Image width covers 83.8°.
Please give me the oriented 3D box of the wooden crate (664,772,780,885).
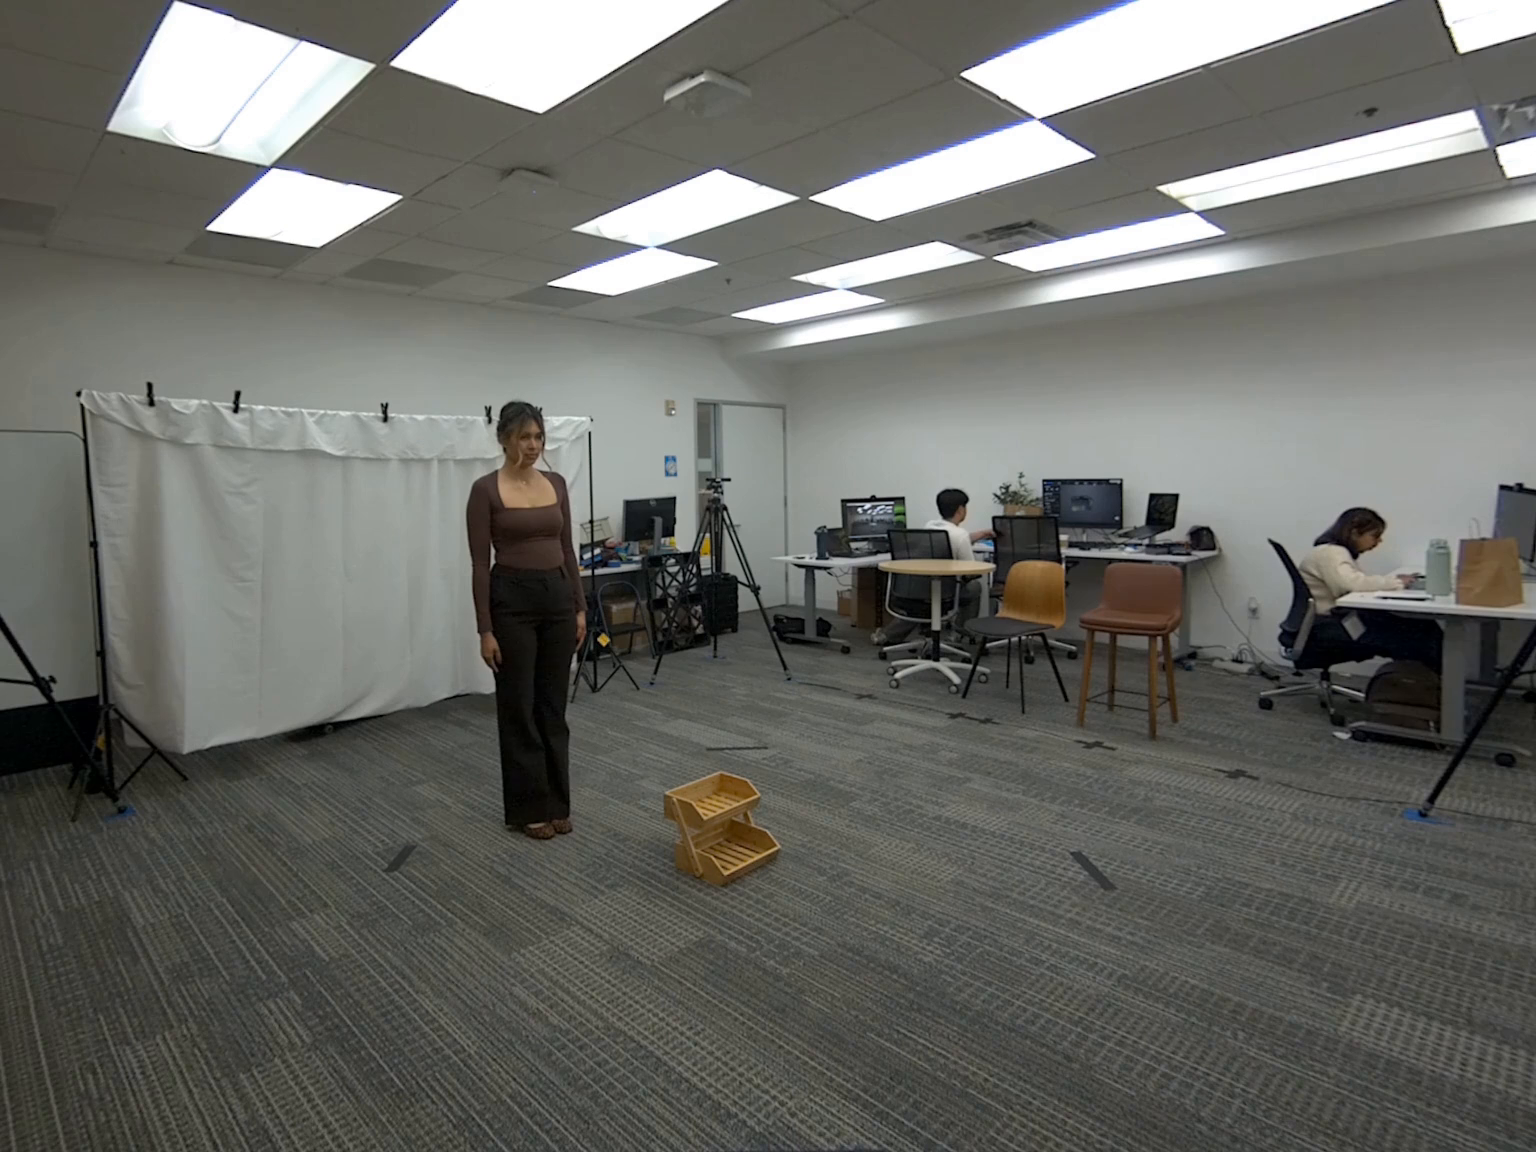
[{"bbox_3d":[-0.163,0.909,3.115,0.311,0.272,0.316,4,7,42],"label":"wooden crate"}]
